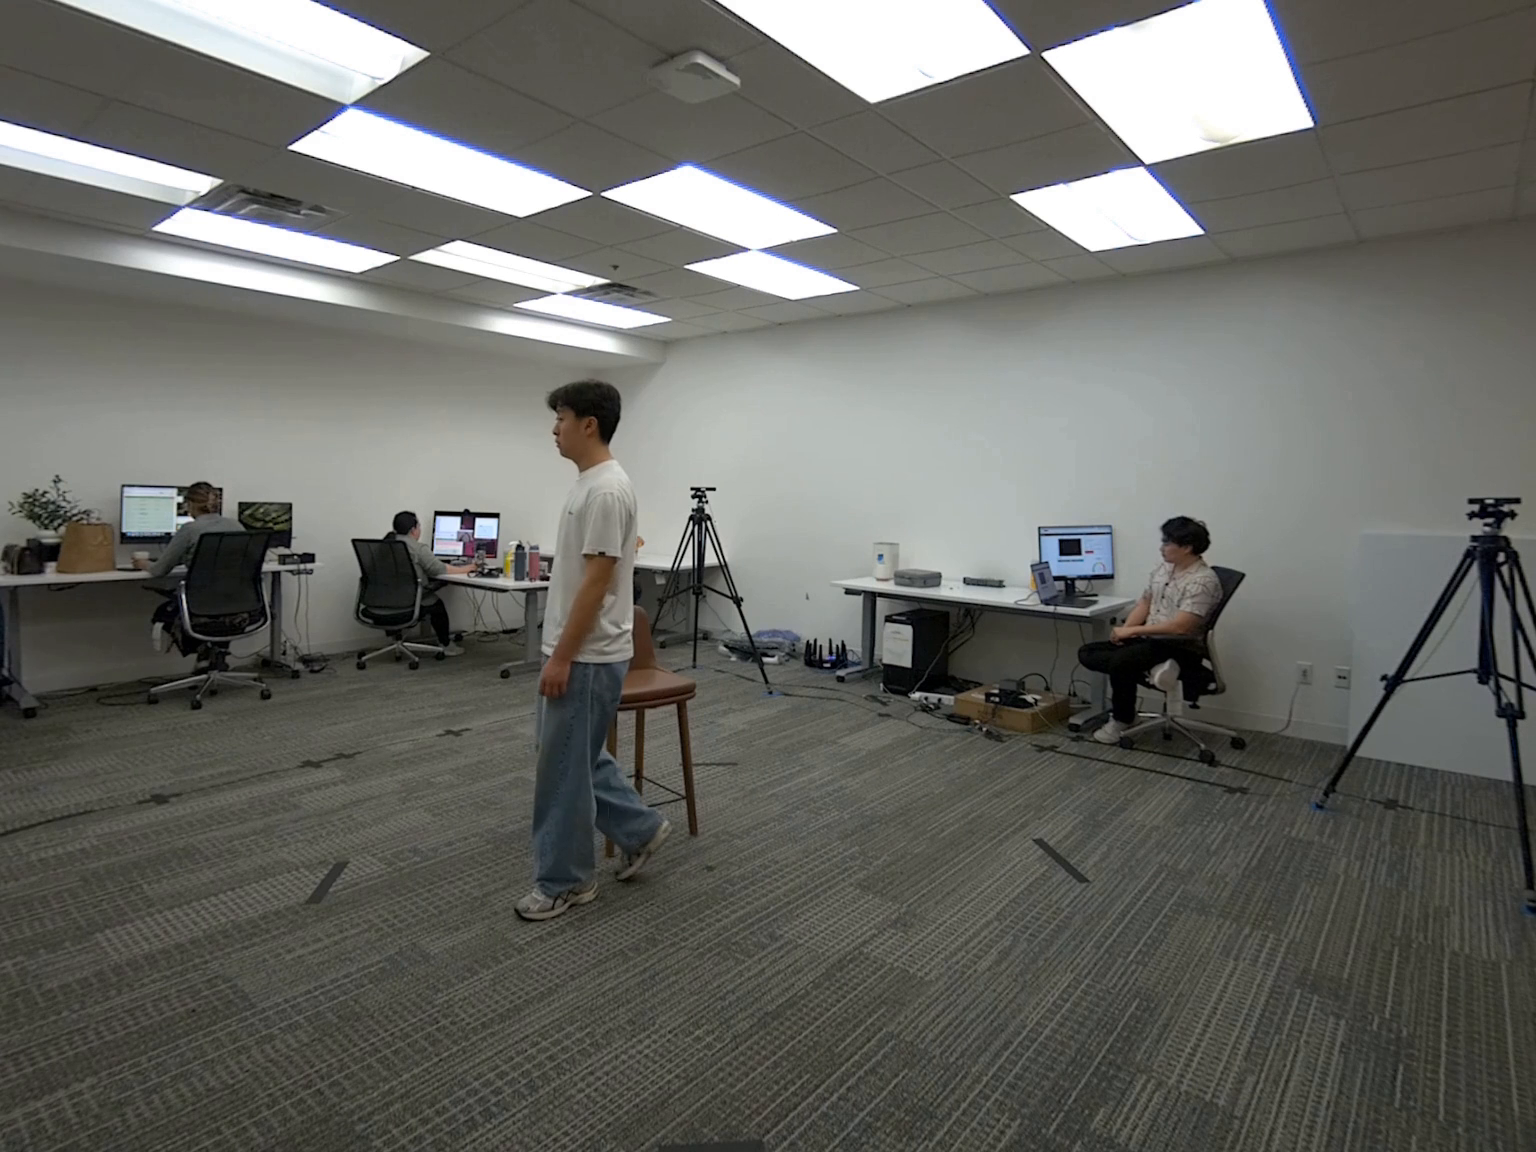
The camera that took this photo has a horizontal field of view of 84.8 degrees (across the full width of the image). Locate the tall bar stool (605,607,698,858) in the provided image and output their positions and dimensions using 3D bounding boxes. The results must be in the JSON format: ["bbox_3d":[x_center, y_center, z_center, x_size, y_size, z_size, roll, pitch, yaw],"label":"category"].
[{"bbox_3d":[-0.584,0.589,3.468,0.443,0.889,0.482,-1,1,-37],"label":"tall bar stool"}]
